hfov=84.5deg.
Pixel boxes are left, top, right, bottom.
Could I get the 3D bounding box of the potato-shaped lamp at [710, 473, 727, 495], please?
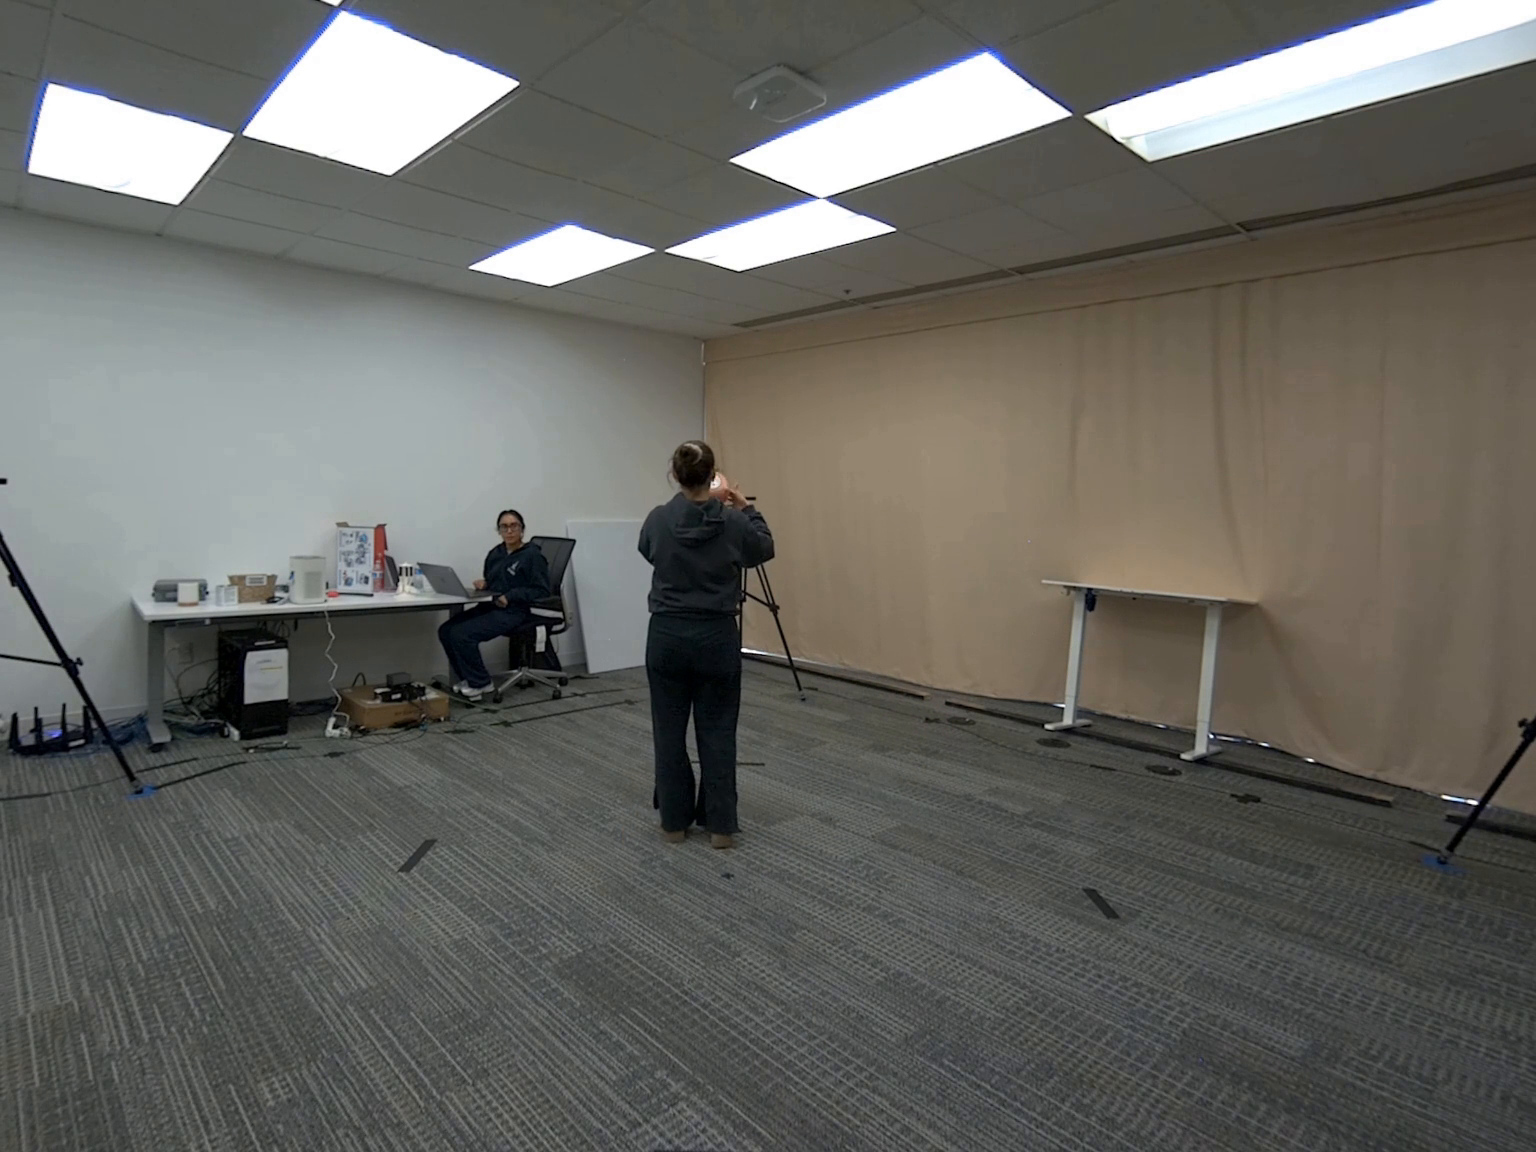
[{"bbox_3d":[-0.262,-0.358,3.707,0.163,0.176,0.195,-10,-35,-17],"label":"potato-shaped lamp"}]
